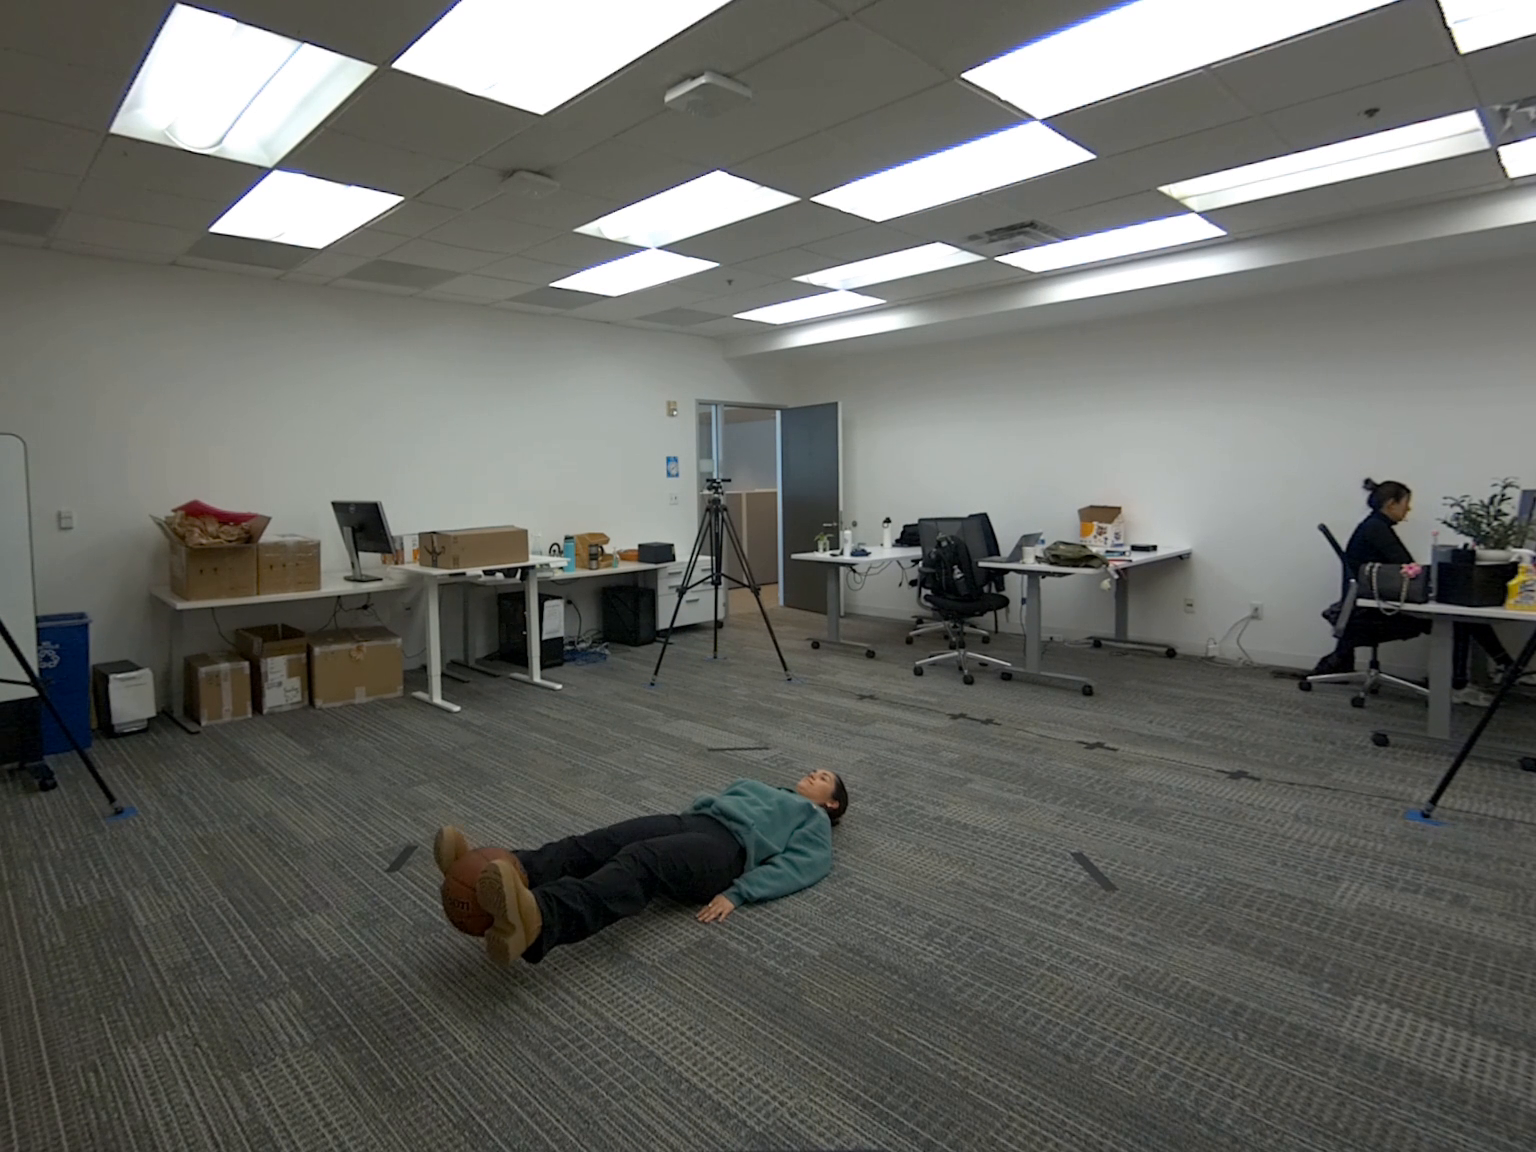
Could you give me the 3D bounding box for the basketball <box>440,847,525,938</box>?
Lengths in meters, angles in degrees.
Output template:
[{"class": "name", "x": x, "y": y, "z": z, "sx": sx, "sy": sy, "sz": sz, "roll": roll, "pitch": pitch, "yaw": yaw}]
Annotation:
[{"class": "basketball", "x": -0.796, "y": 0.889, "z": 2.403, "sx": 0.236, "sy": 0.235, "sz": 0.237, "roll": -1, "pitch": 4, "yaw": -2}]
